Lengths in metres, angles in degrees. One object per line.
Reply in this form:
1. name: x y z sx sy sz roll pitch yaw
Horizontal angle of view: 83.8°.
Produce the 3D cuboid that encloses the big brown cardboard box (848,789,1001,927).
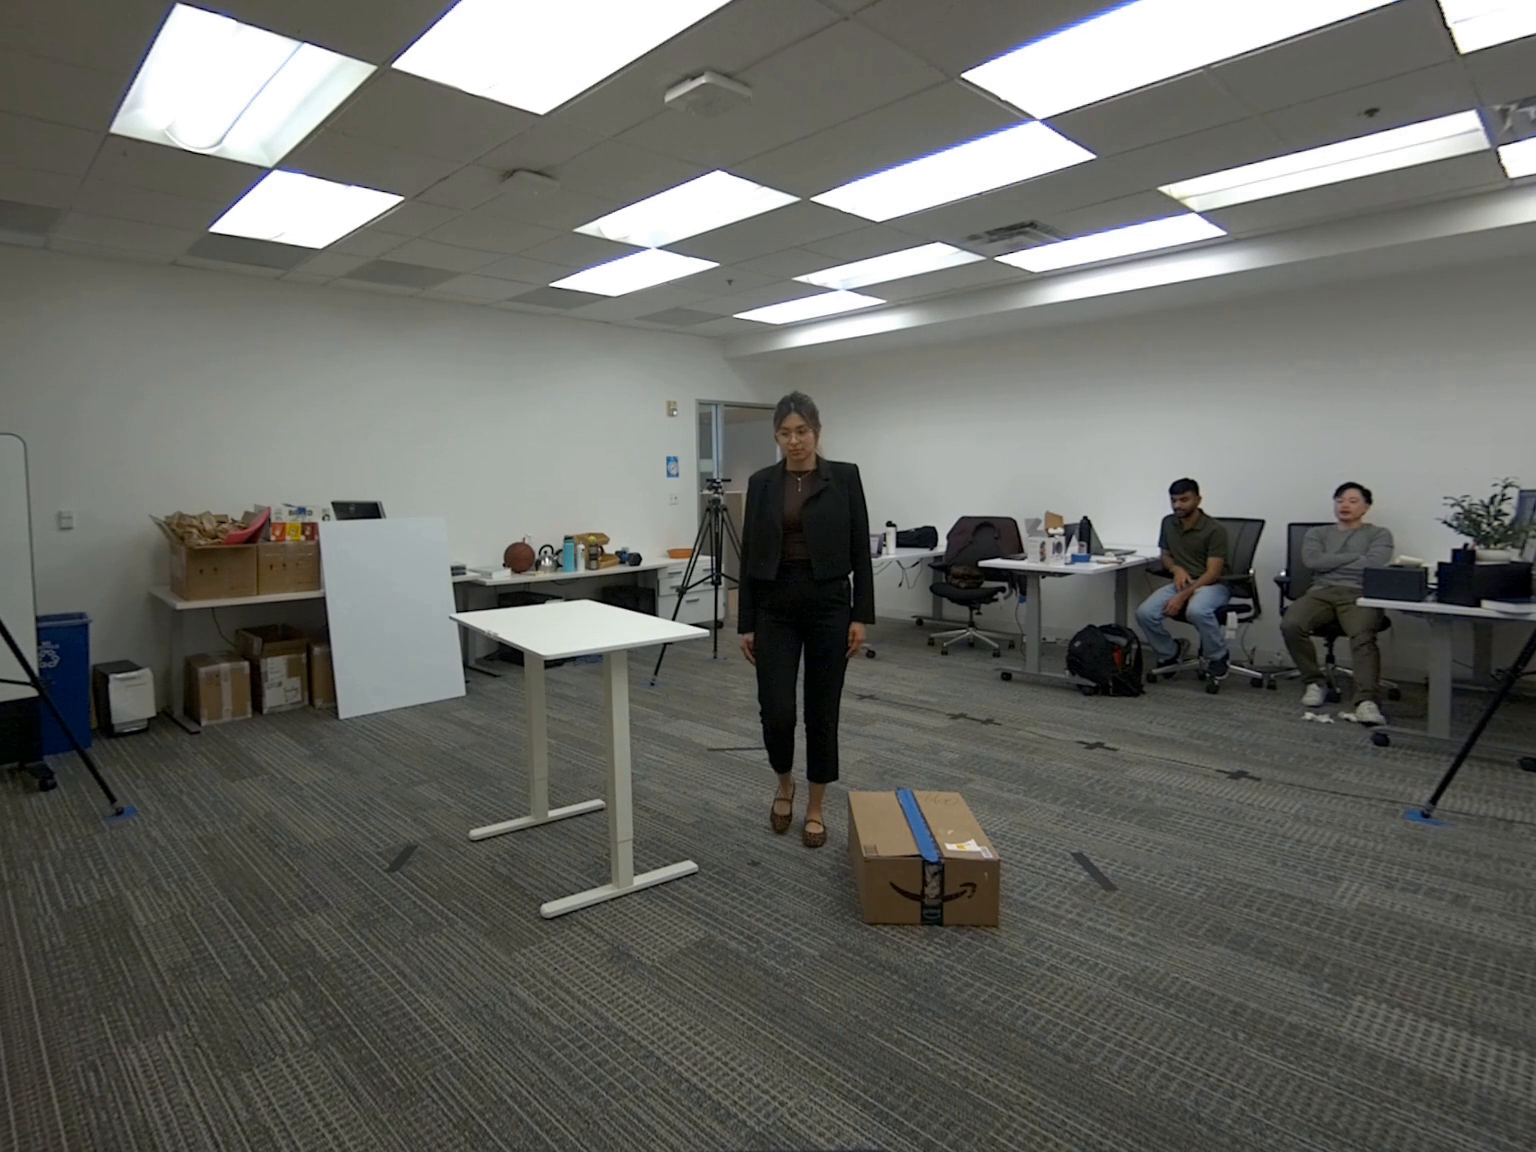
1. big brown cardboard box: 0.509 0.943 2.920 0.418 0.232 0.590 0 5 1
